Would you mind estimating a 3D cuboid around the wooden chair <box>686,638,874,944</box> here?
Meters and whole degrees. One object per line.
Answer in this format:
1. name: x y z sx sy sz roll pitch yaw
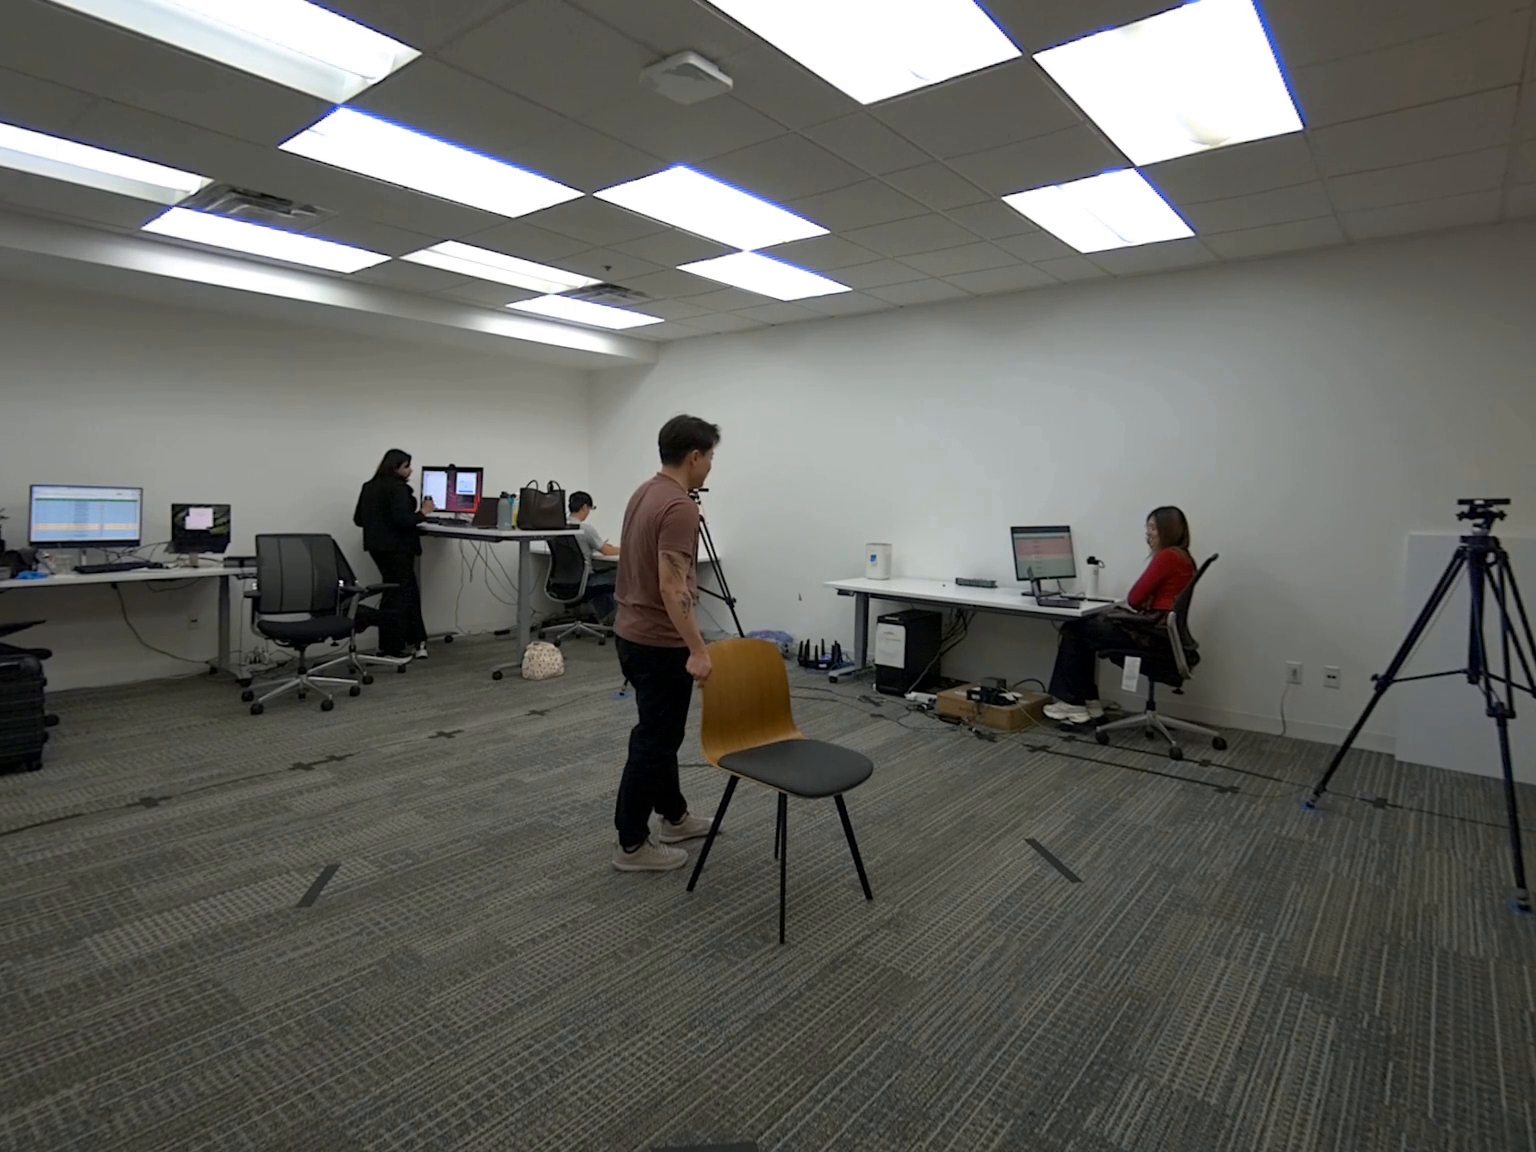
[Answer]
1. wooden chair: 0.050 0.669 2.883 0.463 0.878 0.539 -2 0 -44
